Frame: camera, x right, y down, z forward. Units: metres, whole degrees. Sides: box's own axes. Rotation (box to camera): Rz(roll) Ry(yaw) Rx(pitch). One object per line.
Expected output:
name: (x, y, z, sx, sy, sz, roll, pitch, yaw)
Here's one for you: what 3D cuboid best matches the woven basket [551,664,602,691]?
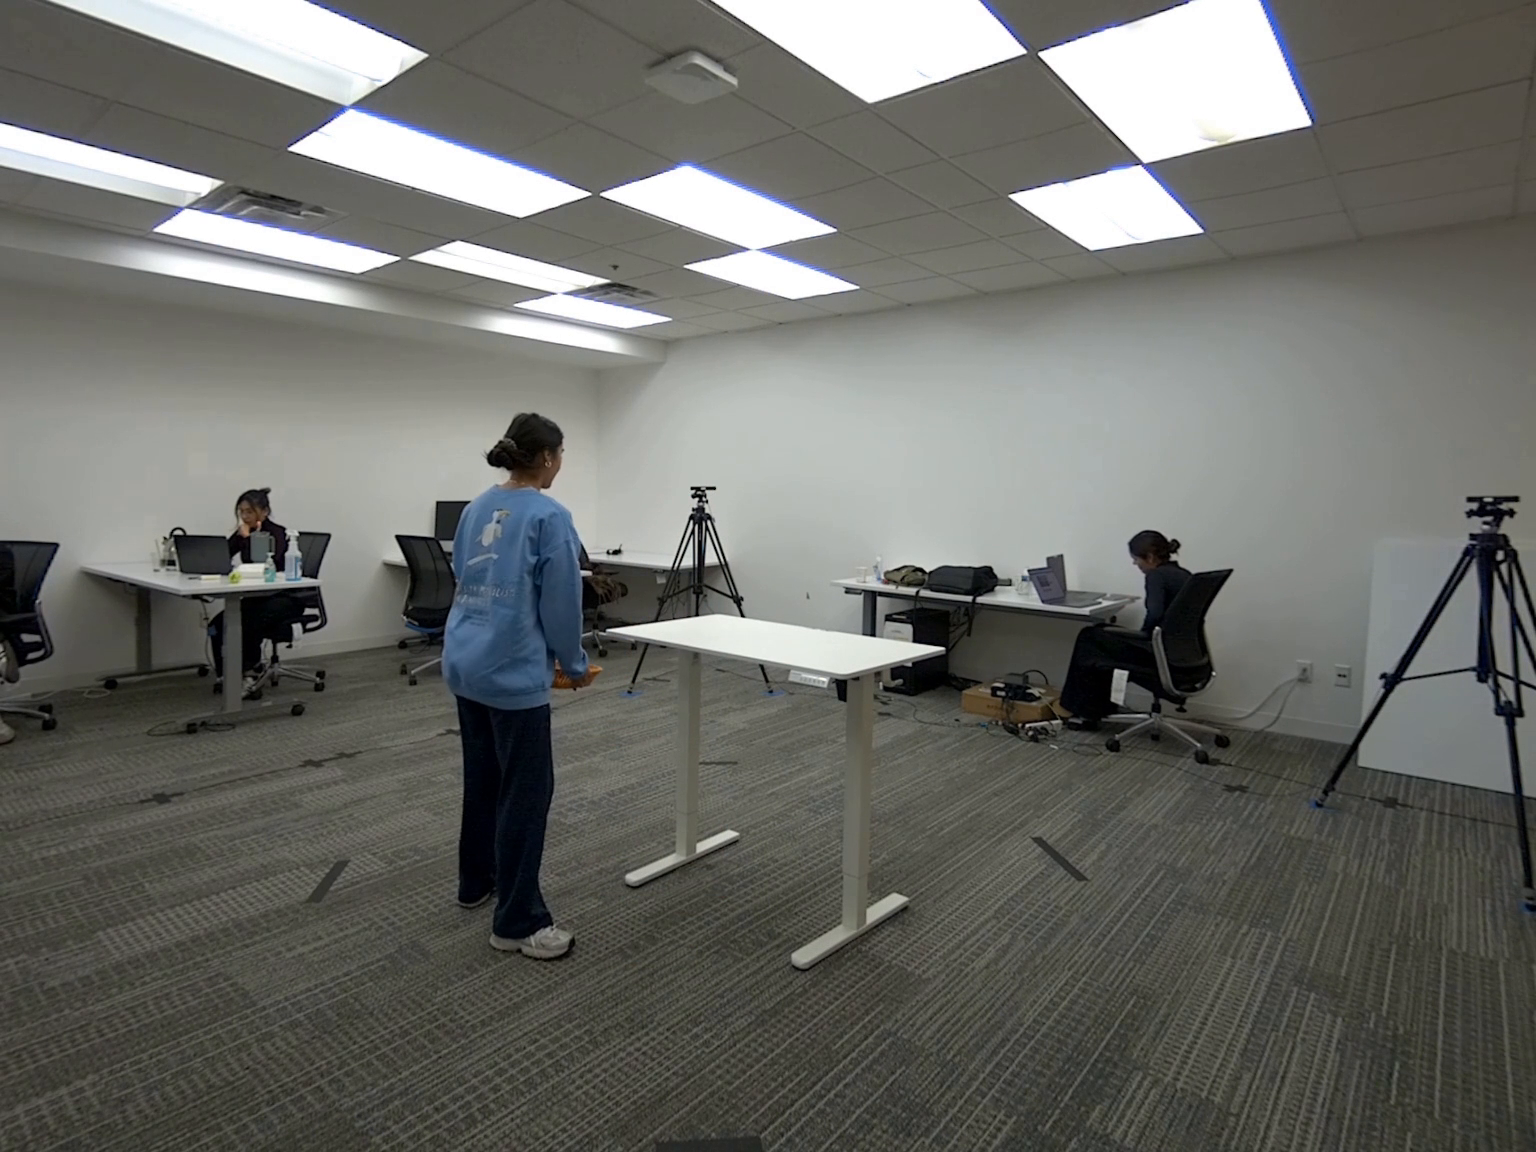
woven basket: (-0.727, 0.339, 2.997, 0.245, 0.073, 0.360, 6, 0, -29)
